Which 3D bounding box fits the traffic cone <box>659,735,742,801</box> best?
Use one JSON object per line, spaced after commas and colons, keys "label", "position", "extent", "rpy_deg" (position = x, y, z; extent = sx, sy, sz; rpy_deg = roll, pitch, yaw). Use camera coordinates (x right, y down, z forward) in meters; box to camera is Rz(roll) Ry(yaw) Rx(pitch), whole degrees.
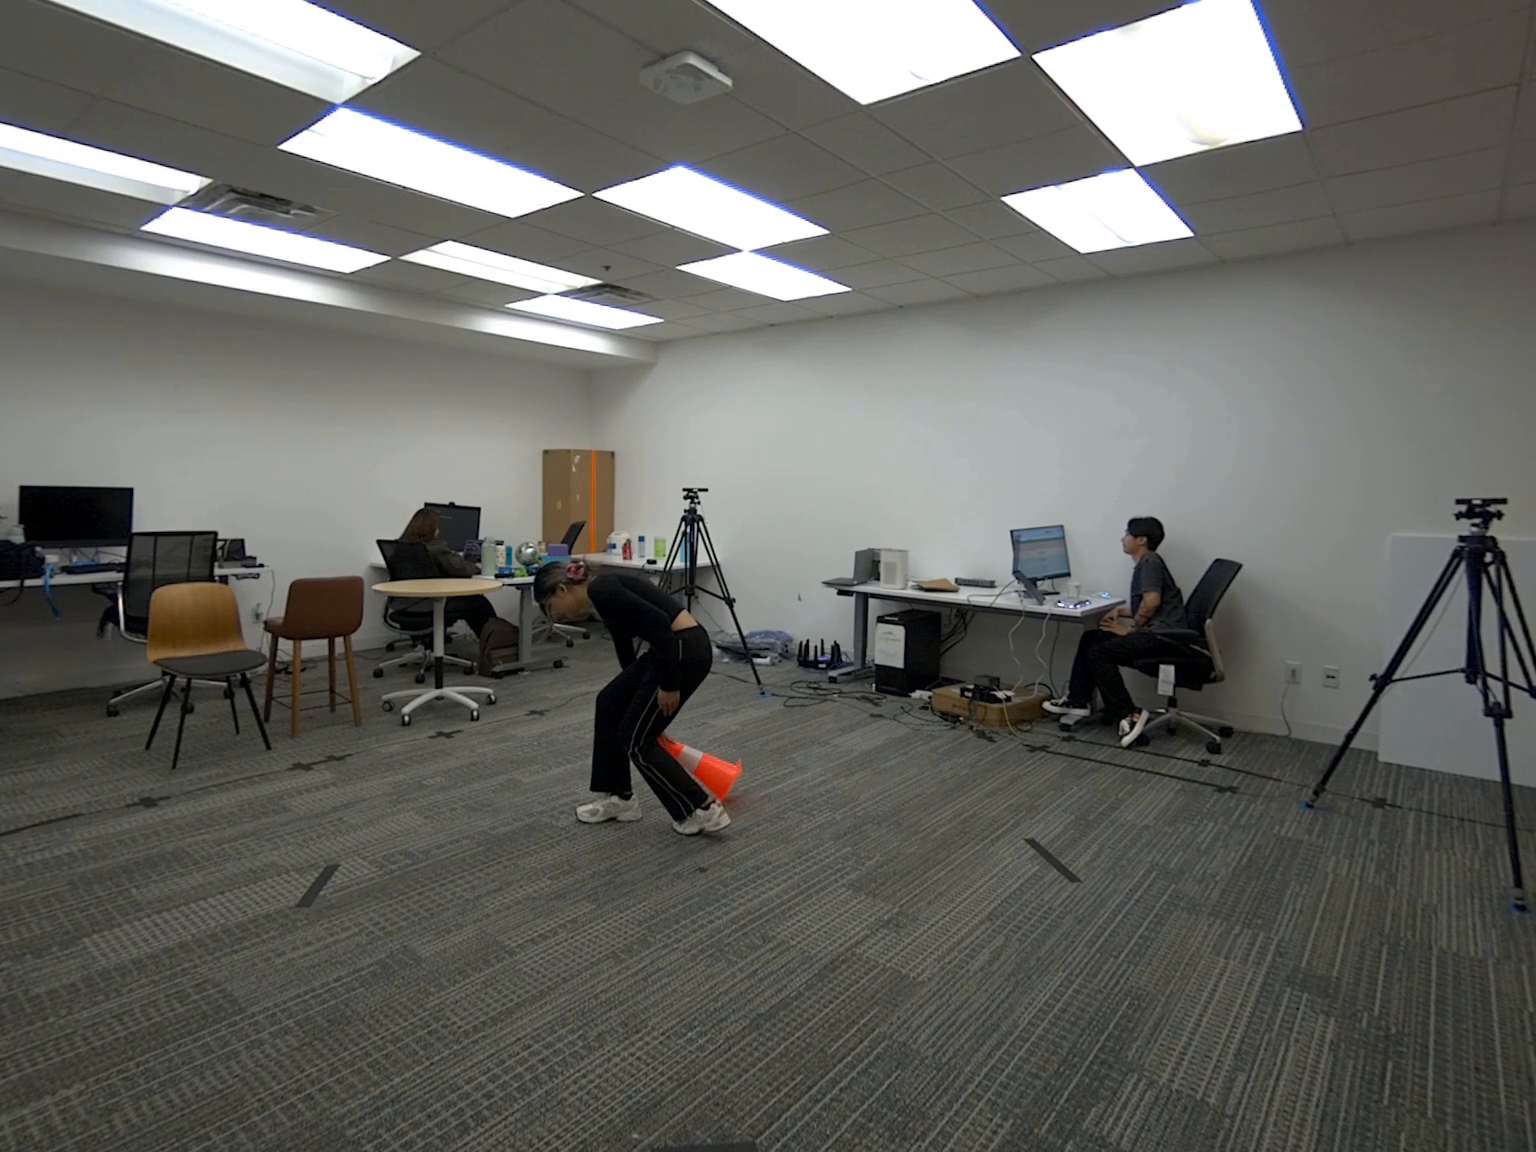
{"label": "traffic cone", "position": [-0.348, 0.815, 3.802], "extent": [0.384, 0.203, 0.205], "rpy_deg": [33, 4, -1]}
